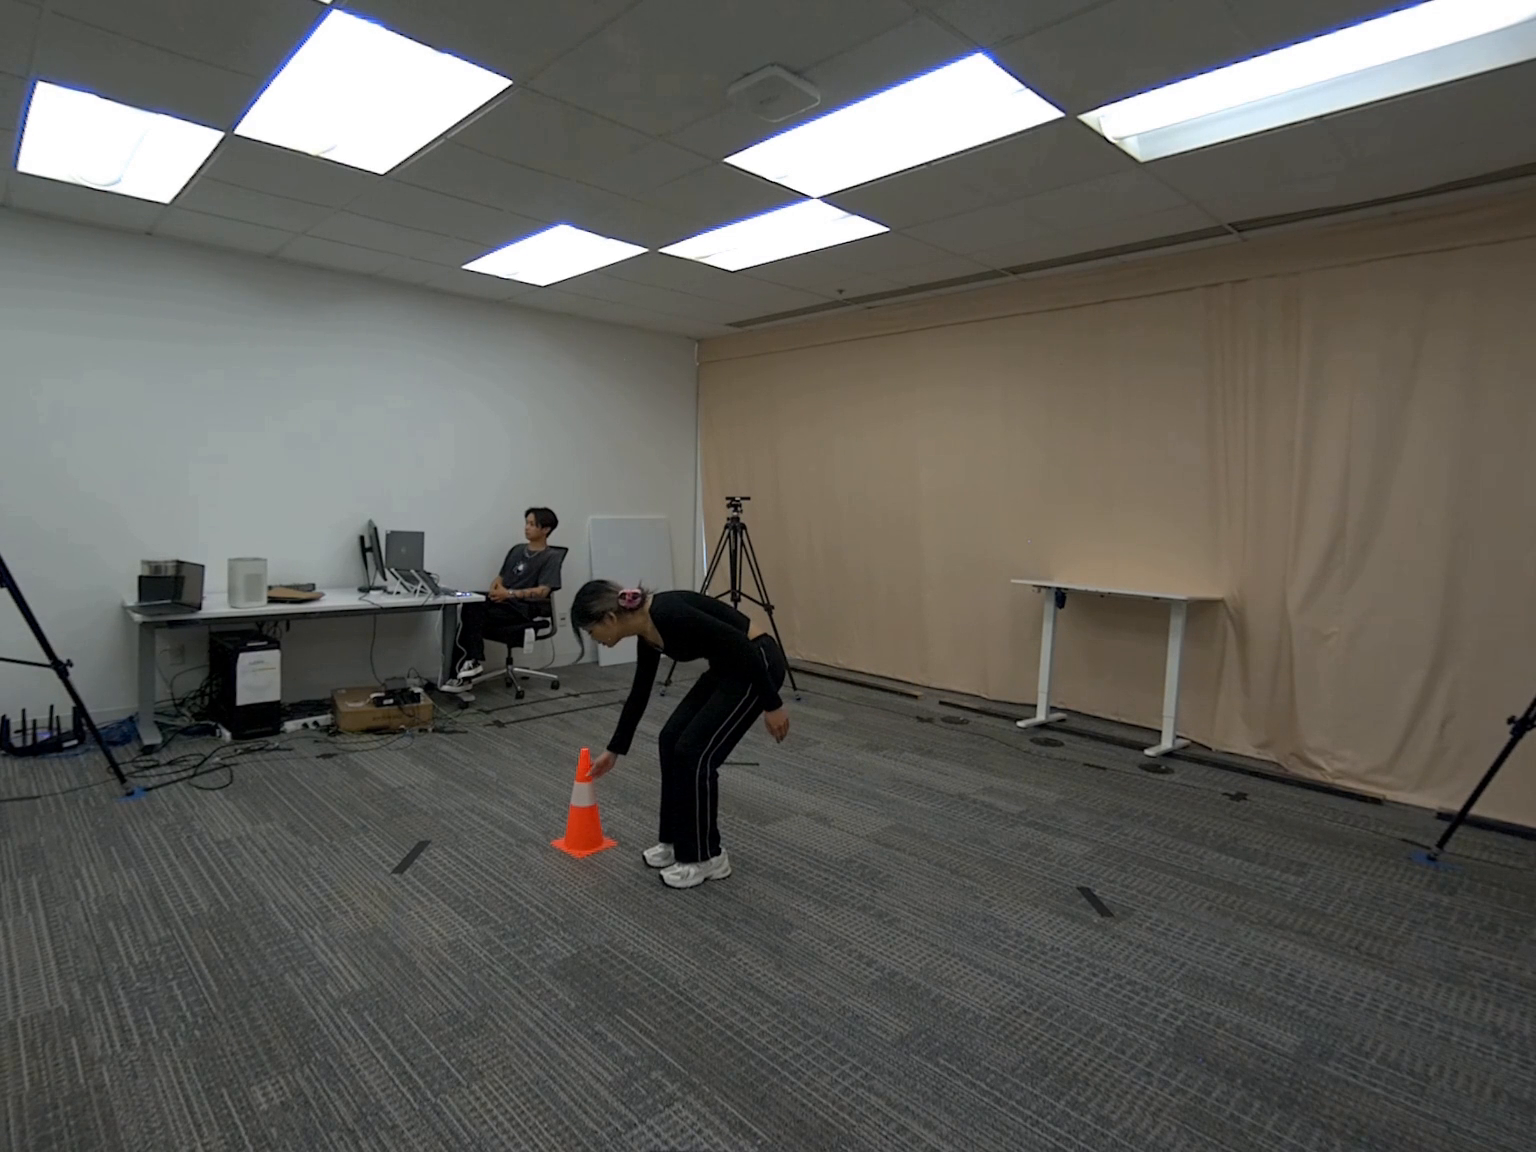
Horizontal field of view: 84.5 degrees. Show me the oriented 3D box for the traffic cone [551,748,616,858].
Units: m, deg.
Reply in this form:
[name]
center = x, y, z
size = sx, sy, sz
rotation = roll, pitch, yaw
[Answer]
[traffic cone]
center = -0.739, 0.884, 3.357
size = 0.200, 0.383, 0.208
rotation = -1, 4, -41
